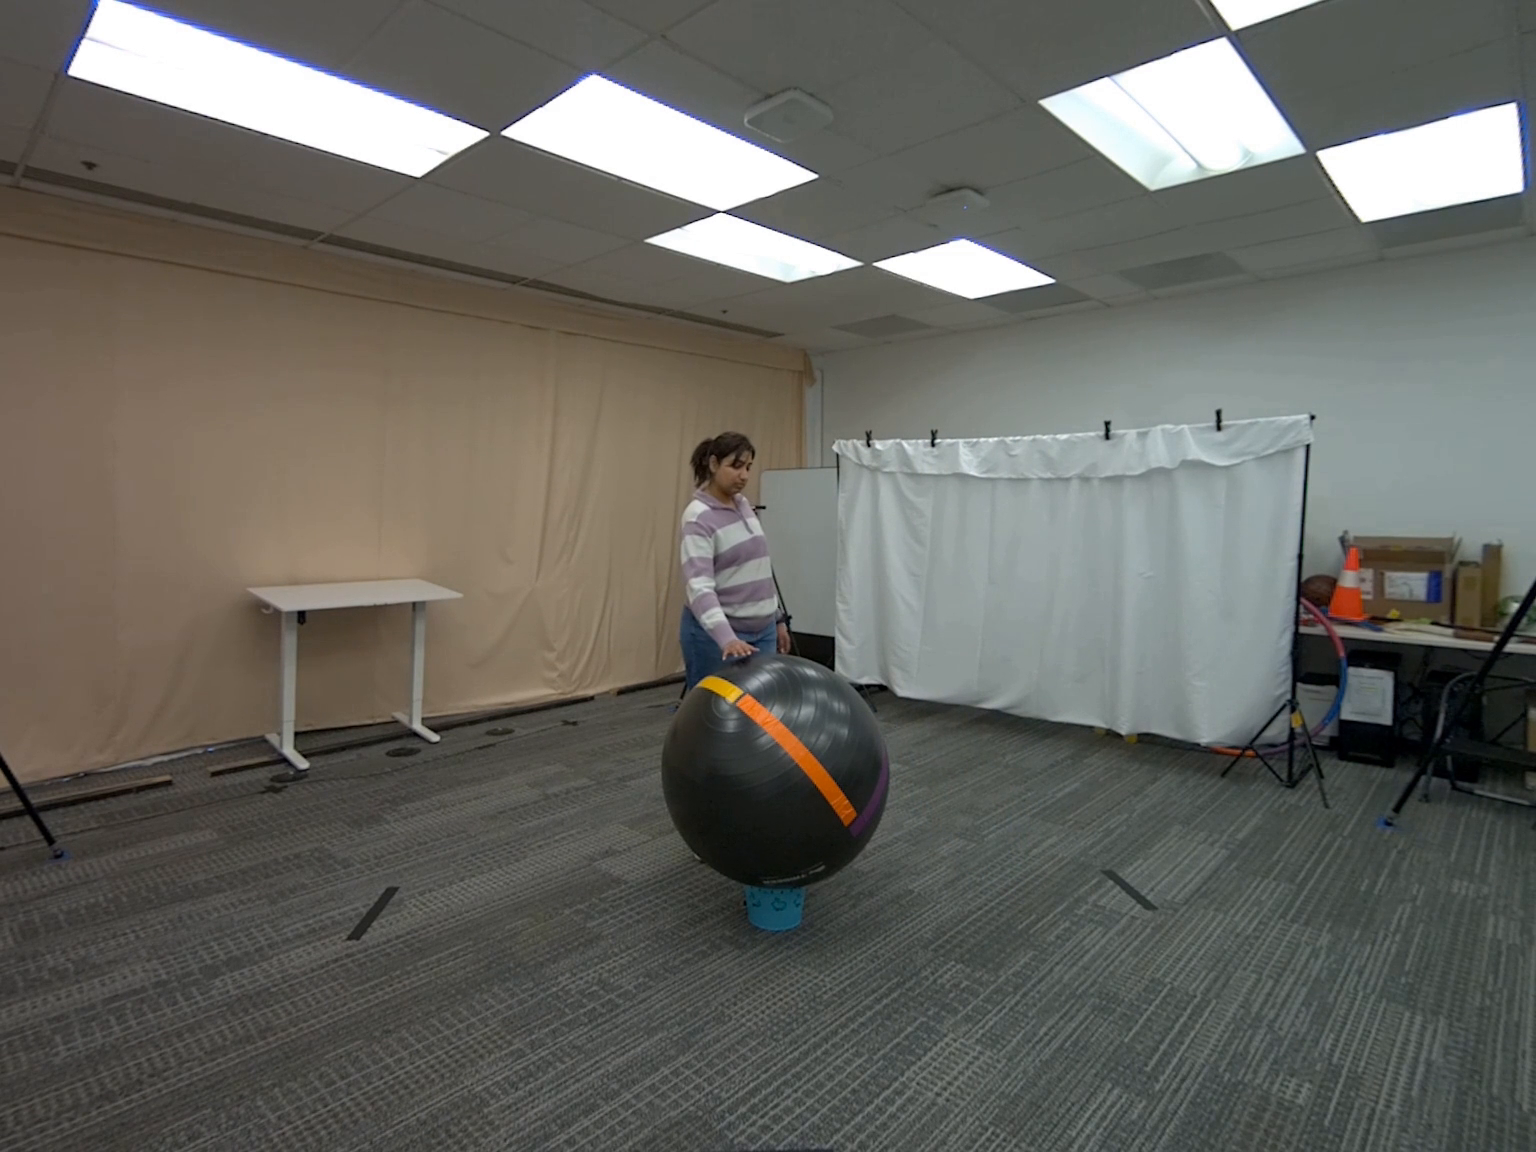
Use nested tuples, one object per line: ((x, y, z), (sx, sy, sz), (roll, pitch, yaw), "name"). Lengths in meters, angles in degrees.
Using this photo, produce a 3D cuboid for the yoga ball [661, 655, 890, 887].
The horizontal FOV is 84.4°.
((0.030, 0.644, 2.825), (0.757, 0.756, 0.760), (0, 4, -2), "yoga ball")
